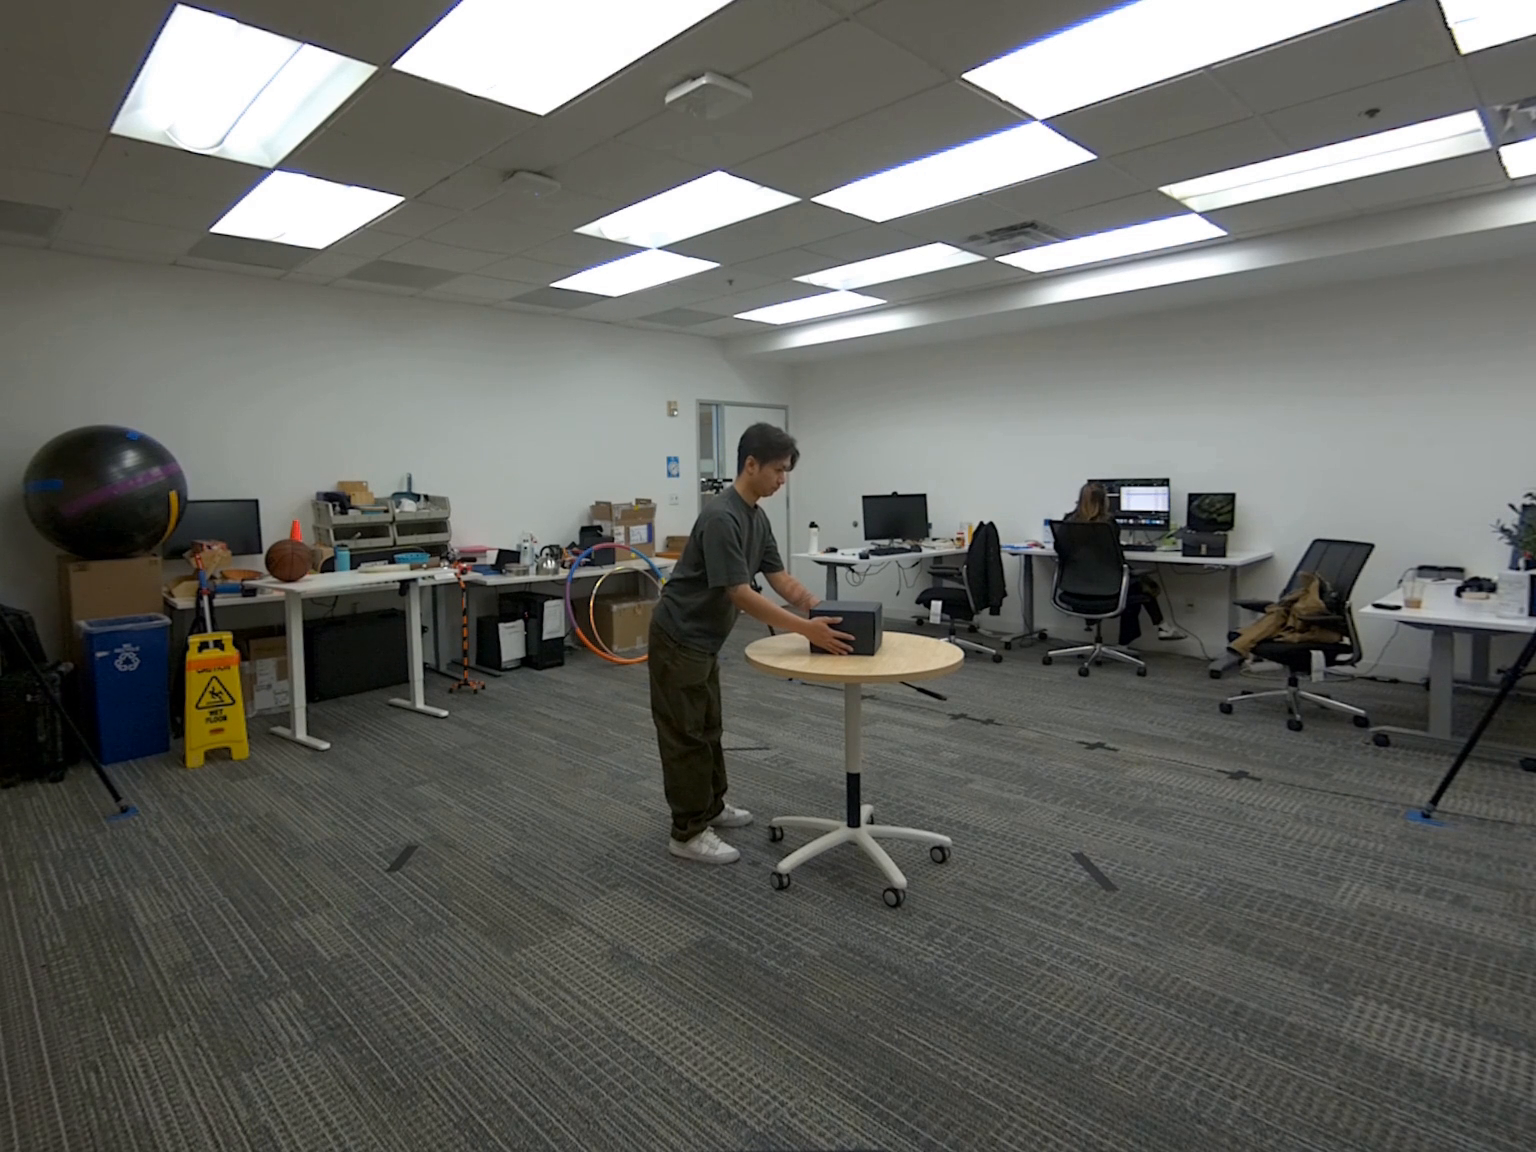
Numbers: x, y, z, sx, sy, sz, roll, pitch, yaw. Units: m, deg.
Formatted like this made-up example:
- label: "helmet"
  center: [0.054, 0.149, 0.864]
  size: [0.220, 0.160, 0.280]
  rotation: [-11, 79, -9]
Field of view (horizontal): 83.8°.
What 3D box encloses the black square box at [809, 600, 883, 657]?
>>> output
- label: "black square box"
  center: [0.283, 0.180, 3.052]
  size: [0.231, 0.155, 0.214]
  rotation: [1, 6, 16]
